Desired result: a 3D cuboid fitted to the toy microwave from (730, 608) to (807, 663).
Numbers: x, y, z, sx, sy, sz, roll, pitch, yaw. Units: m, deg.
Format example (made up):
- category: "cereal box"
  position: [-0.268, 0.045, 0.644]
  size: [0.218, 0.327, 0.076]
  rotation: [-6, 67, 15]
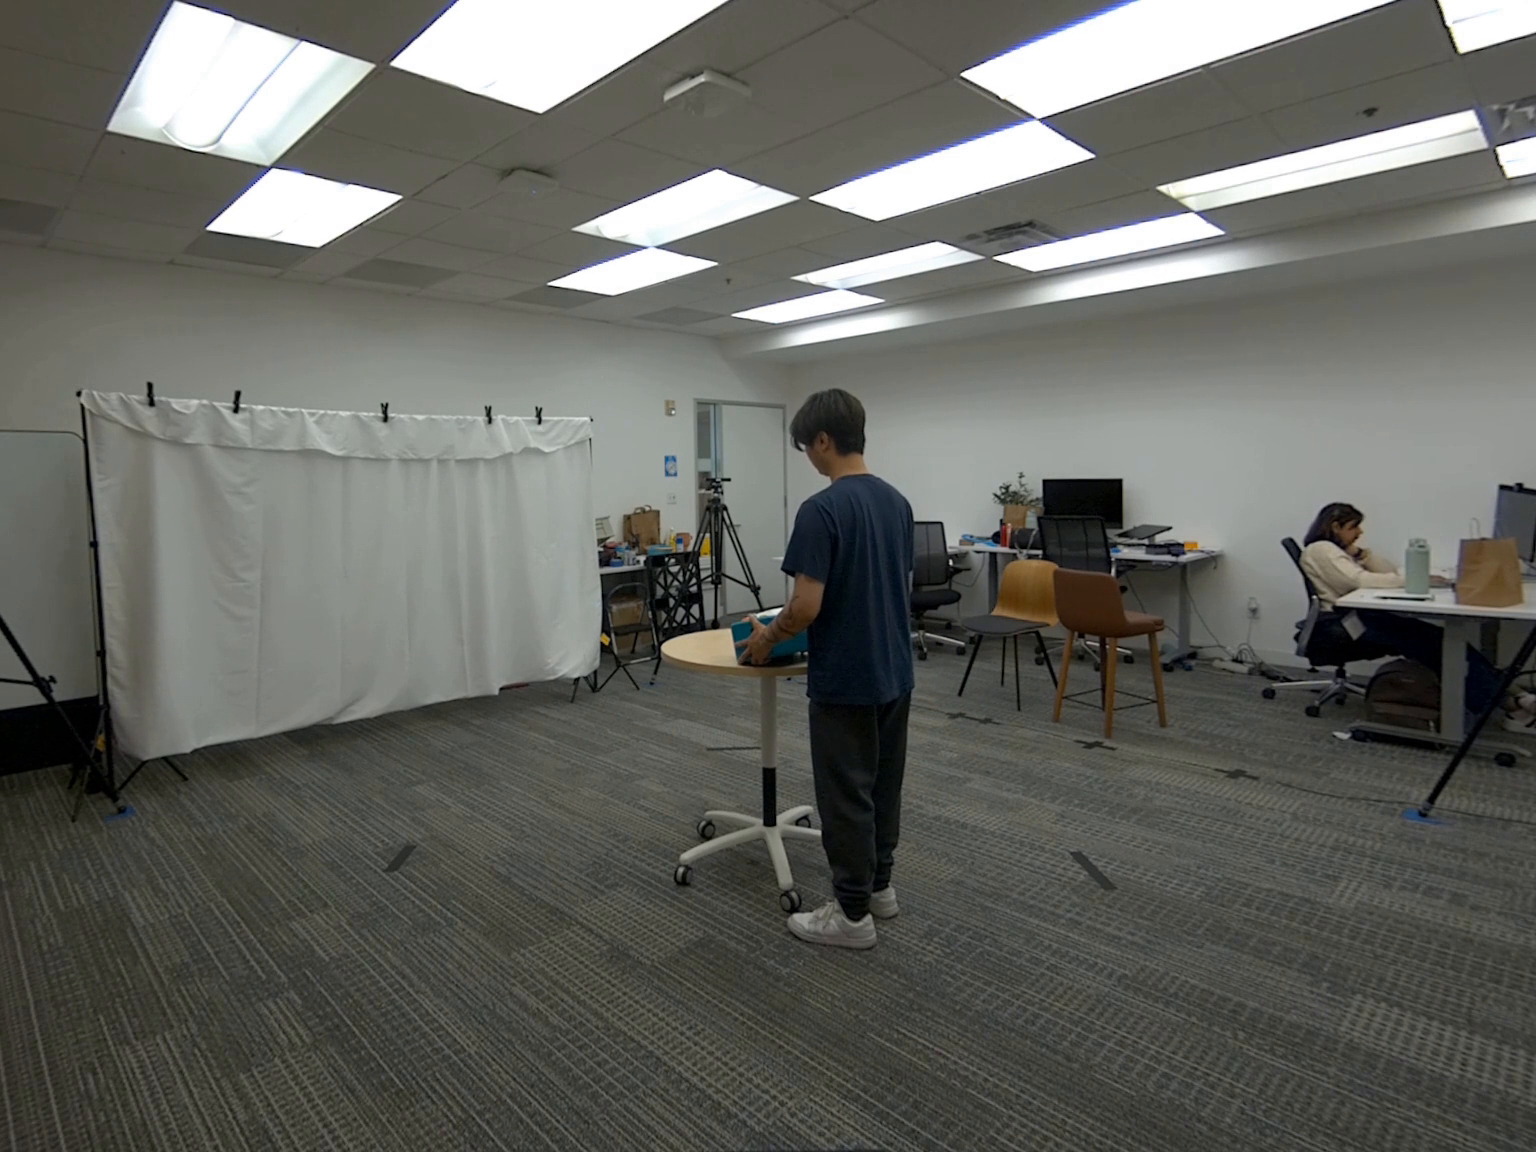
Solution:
- category: "toy microwave"
  position: [0.034, 0.185, 2.808]
  size: [0.278, 0.154, 0.187]
  rotation: [-4, -9, -43]
